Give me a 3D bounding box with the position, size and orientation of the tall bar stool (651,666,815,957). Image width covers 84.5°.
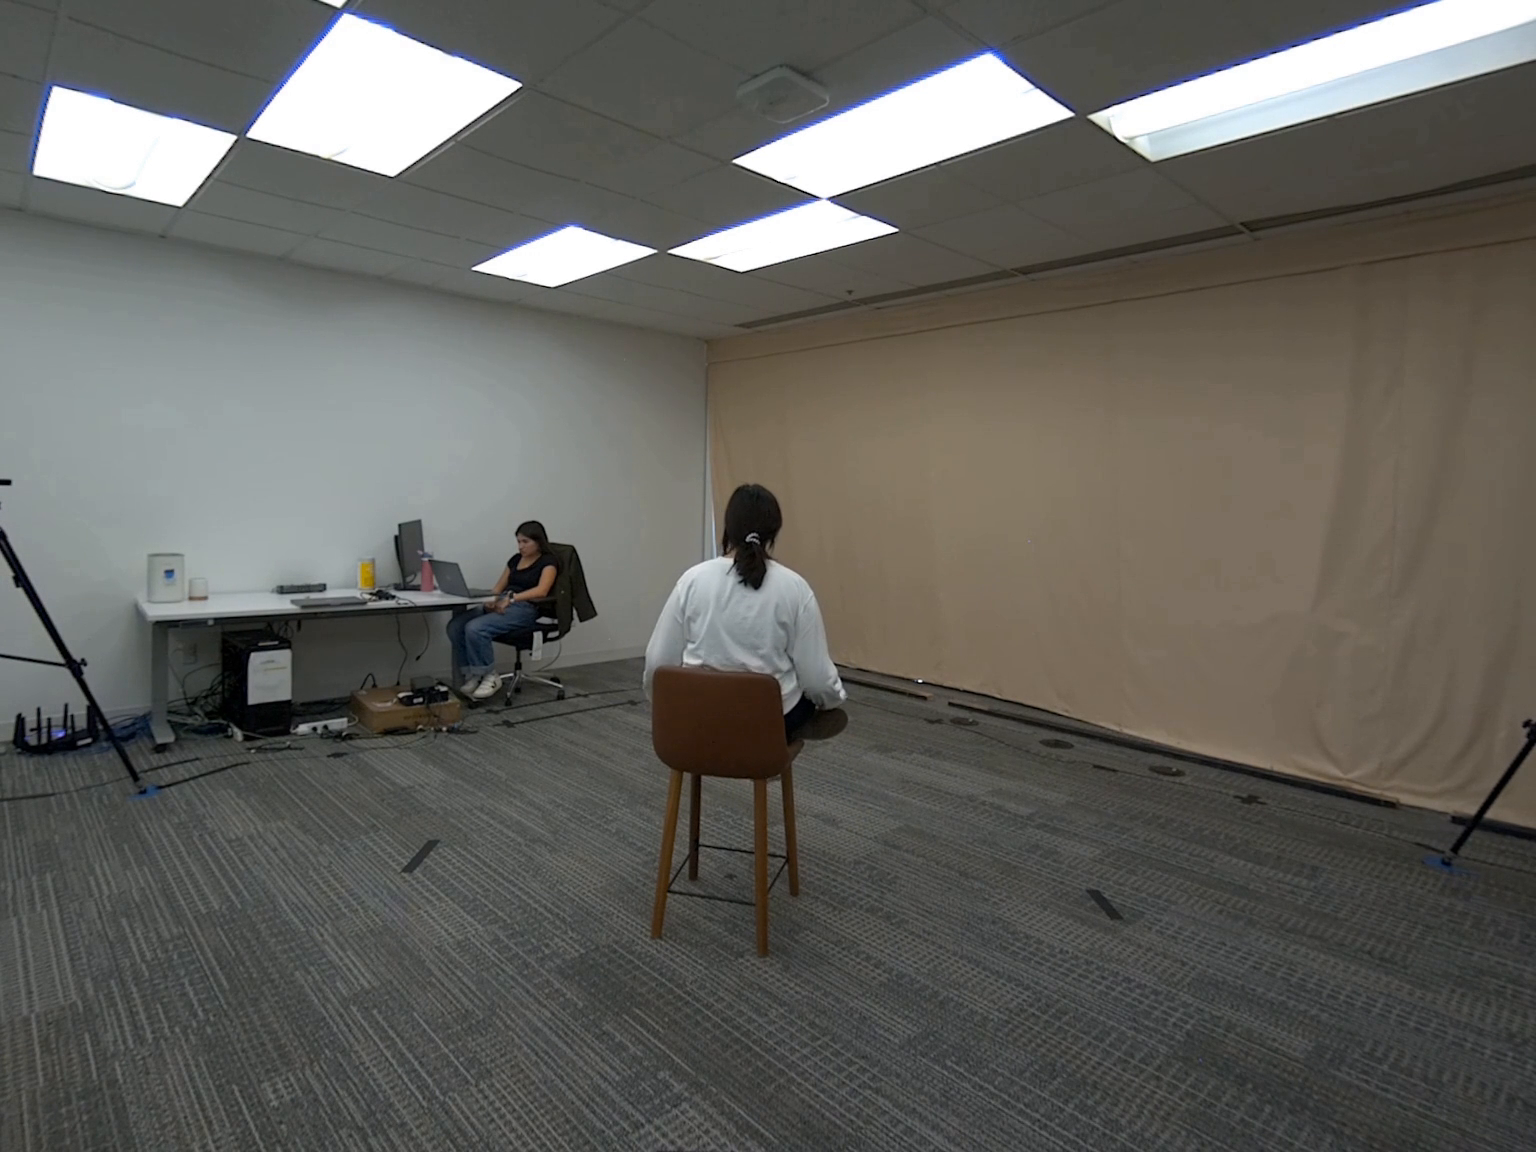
[{"bbox_3d":[-0.146,0.705,2.789,0.462,0.886,0.463,2,6,15],"label":"tall bar stool"}]
